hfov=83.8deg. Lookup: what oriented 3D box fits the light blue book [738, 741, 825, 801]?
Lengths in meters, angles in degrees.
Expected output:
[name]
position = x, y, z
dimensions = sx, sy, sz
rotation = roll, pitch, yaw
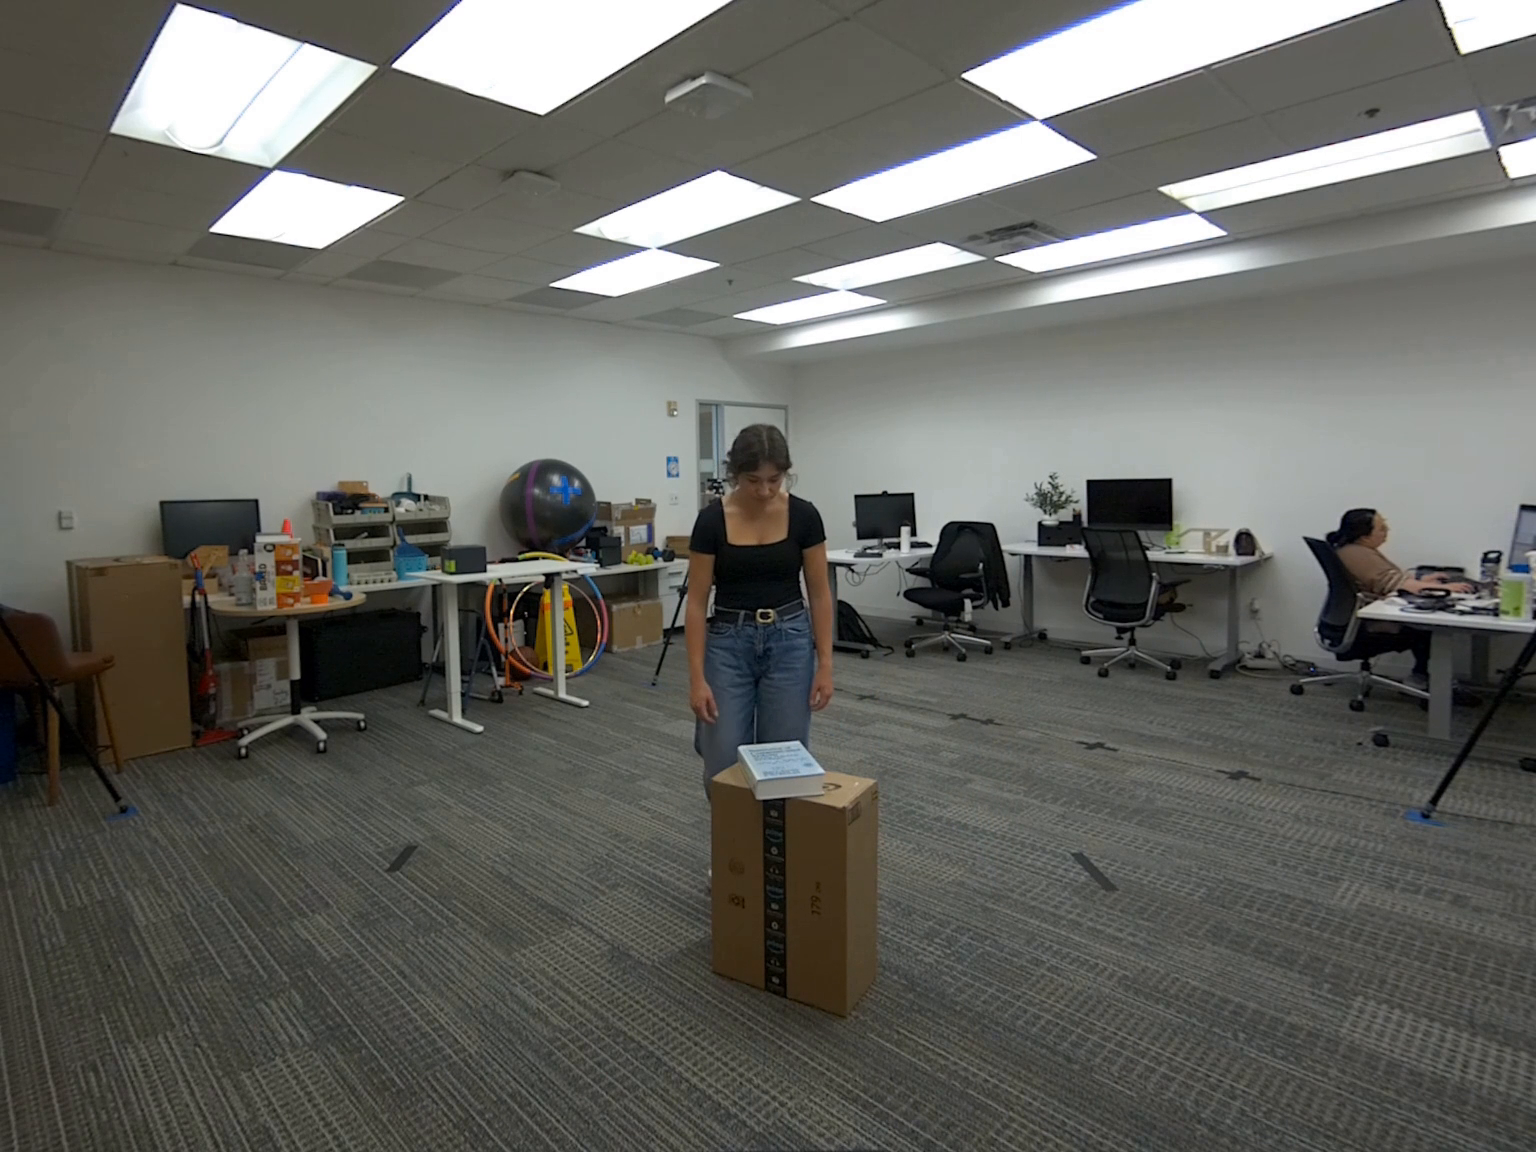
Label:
[light blue book]
position = 0.026, 0.540, 2.373
dimensions = 0.189, 0.058, 0.265
rotation = -3, 8, -12
